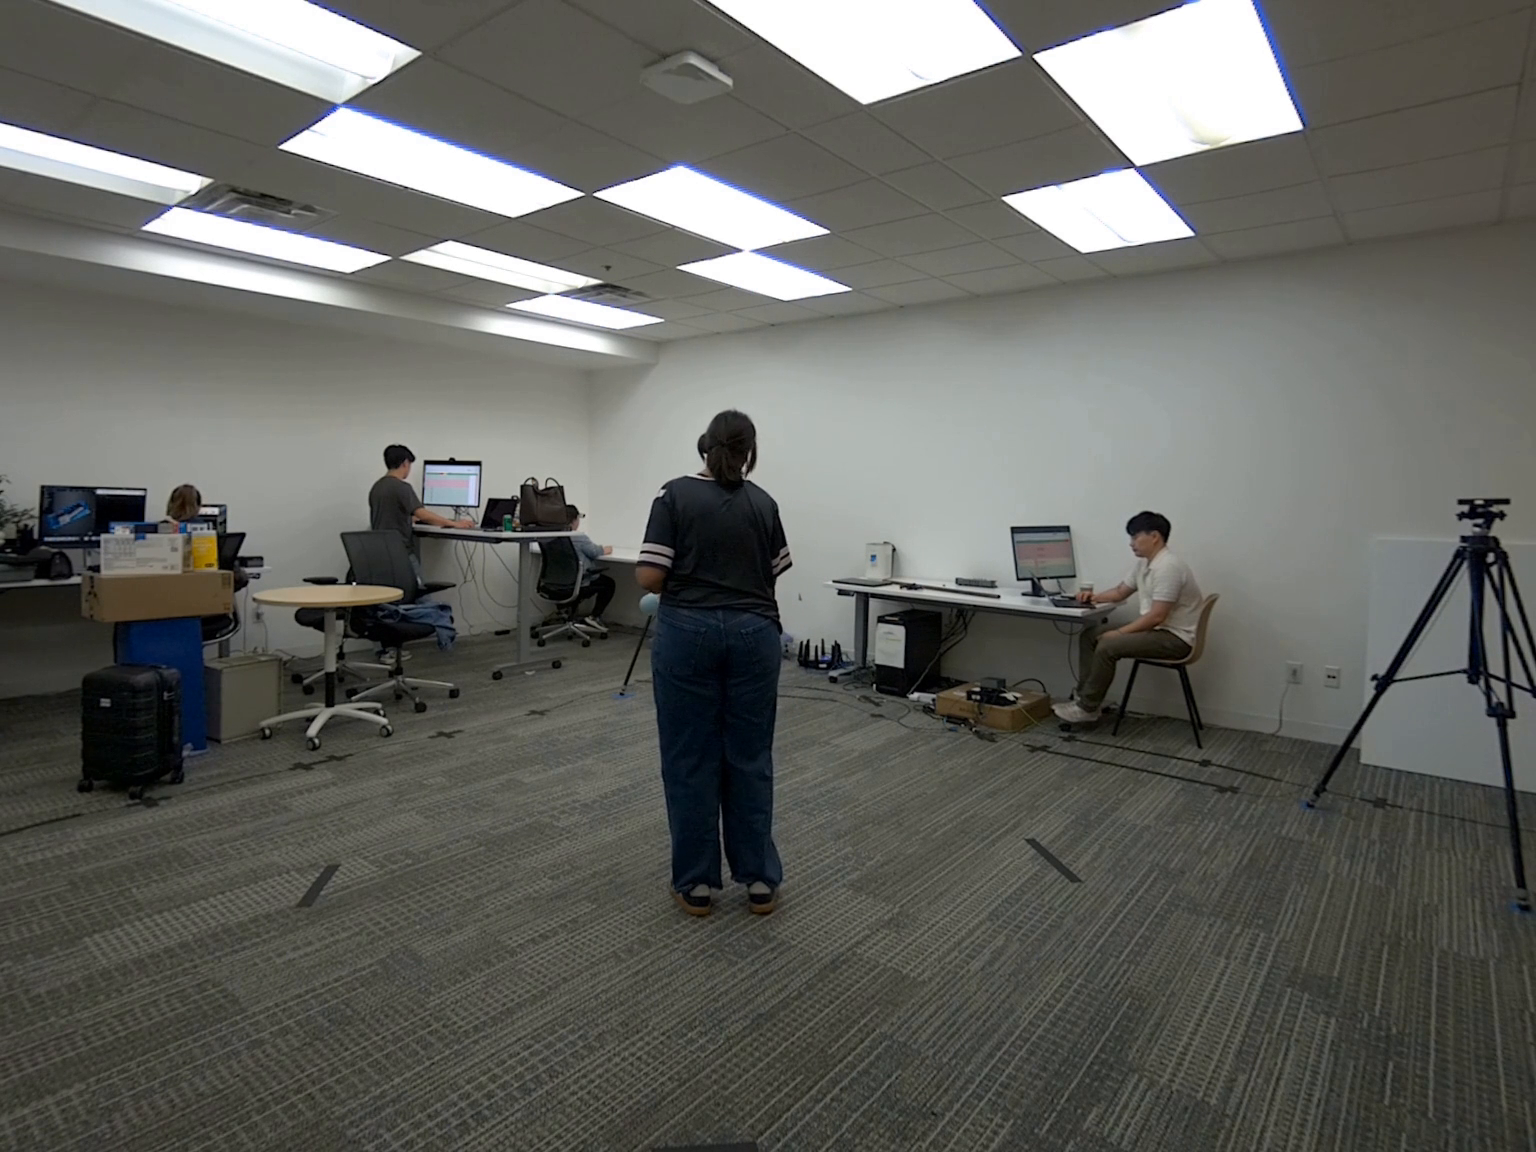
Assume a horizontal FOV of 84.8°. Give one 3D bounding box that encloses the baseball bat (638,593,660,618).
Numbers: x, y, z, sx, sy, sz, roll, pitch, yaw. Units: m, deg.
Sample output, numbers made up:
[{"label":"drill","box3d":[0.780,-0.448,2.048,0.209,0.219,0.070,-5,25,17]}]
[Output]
[{"label":"baseball bat","box3d":[-0.400,0.092,3.266,0.087,0.090,0.549,0,-6,-20]}]
